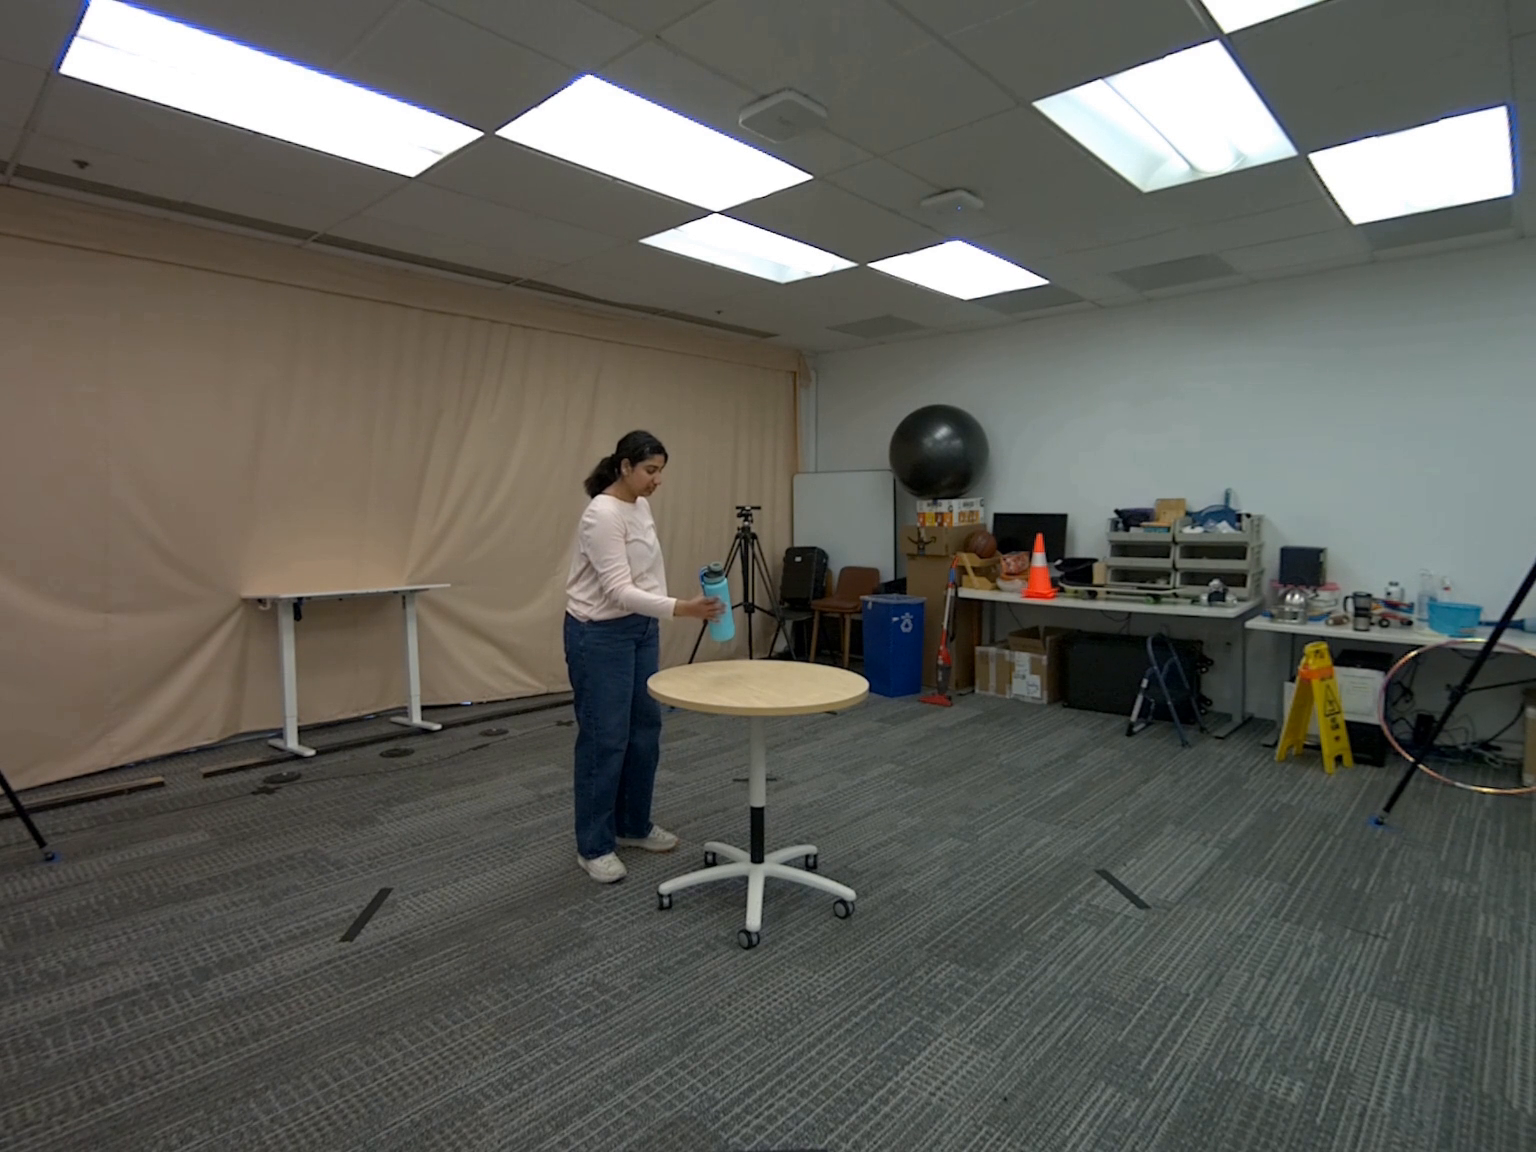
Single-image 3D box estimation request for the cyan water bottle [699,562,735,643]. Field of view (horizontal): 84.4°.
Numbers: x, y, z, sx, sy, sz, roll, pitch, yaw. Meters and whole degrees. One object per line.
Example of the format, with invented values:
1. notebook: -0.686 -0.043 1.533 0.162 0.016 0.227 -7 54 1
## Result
1. cyan water bottle: -0.173 0.090 2.963 0.092 0.279 0.093 -5 22 0
